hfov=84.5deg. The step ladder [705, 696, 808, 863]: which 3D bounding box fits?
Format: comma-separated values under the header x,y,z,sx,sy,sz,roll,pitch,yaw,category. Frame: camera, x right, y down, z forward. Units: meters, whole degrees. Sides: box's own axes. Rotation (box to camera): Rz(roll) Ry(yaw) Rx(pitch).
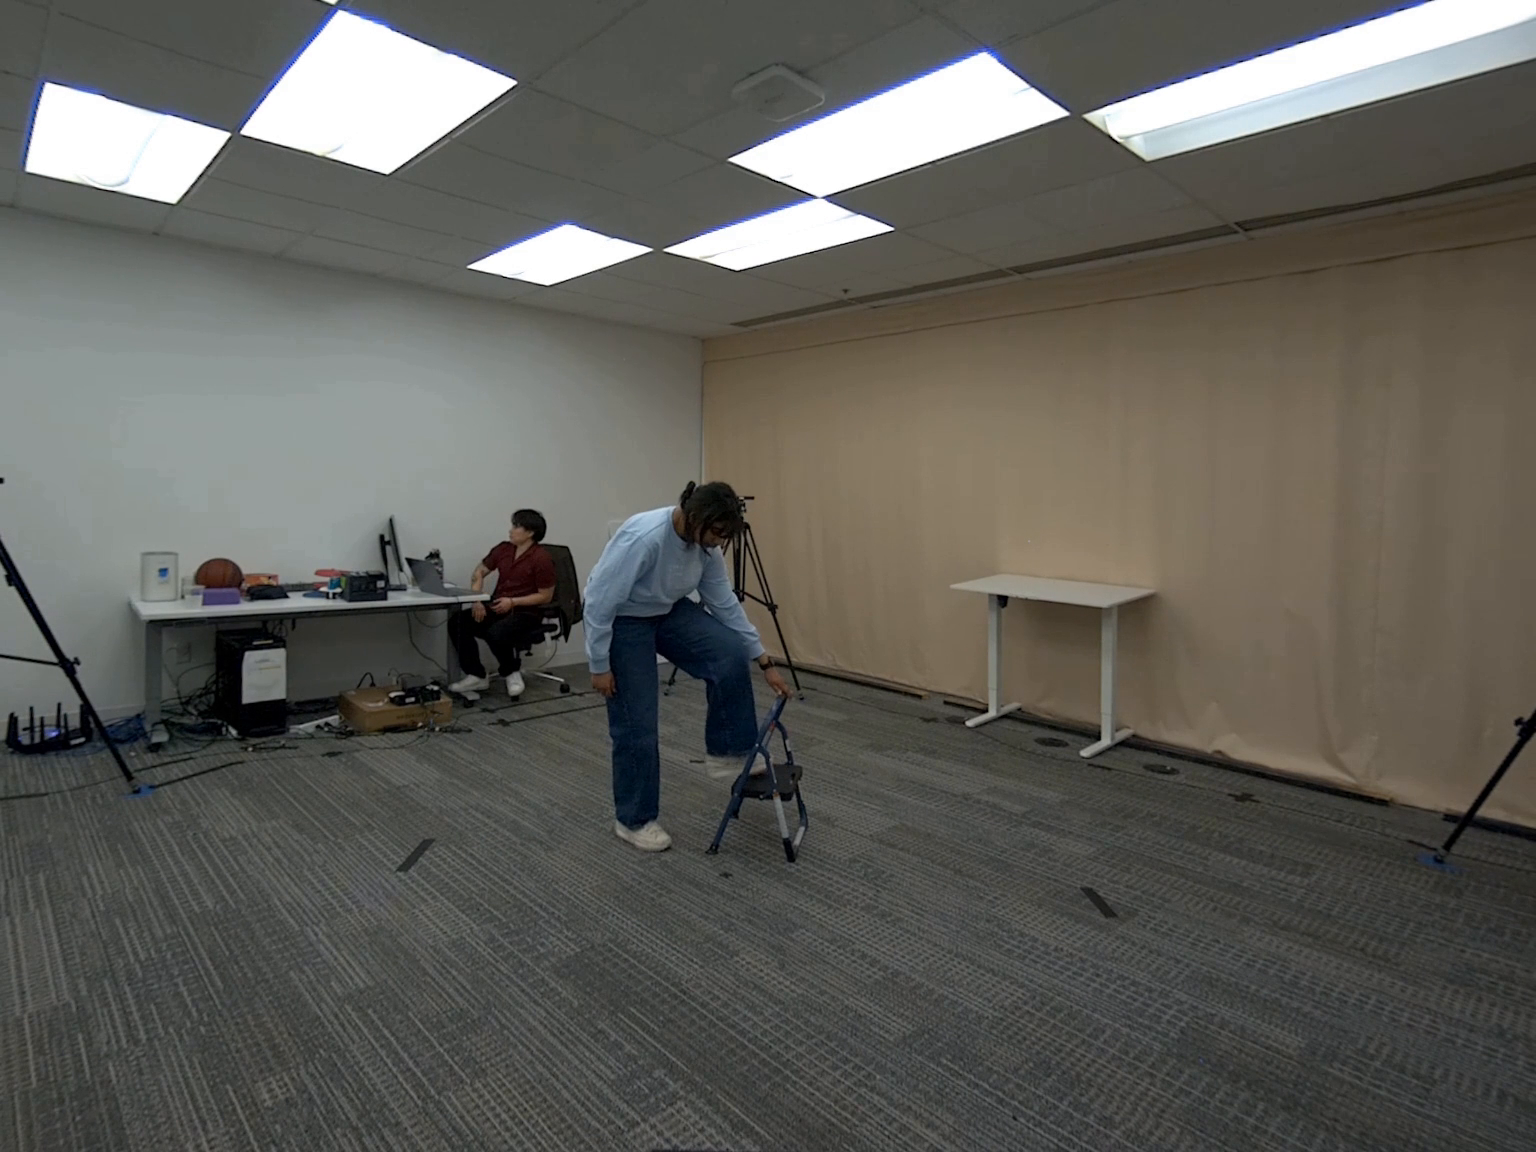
x,y,z,sx,sy,sz,roll,pitch,yaw,category
-0.033,0.777,3.442,0.353,0.605,0.427,1,3,11,step ladder
